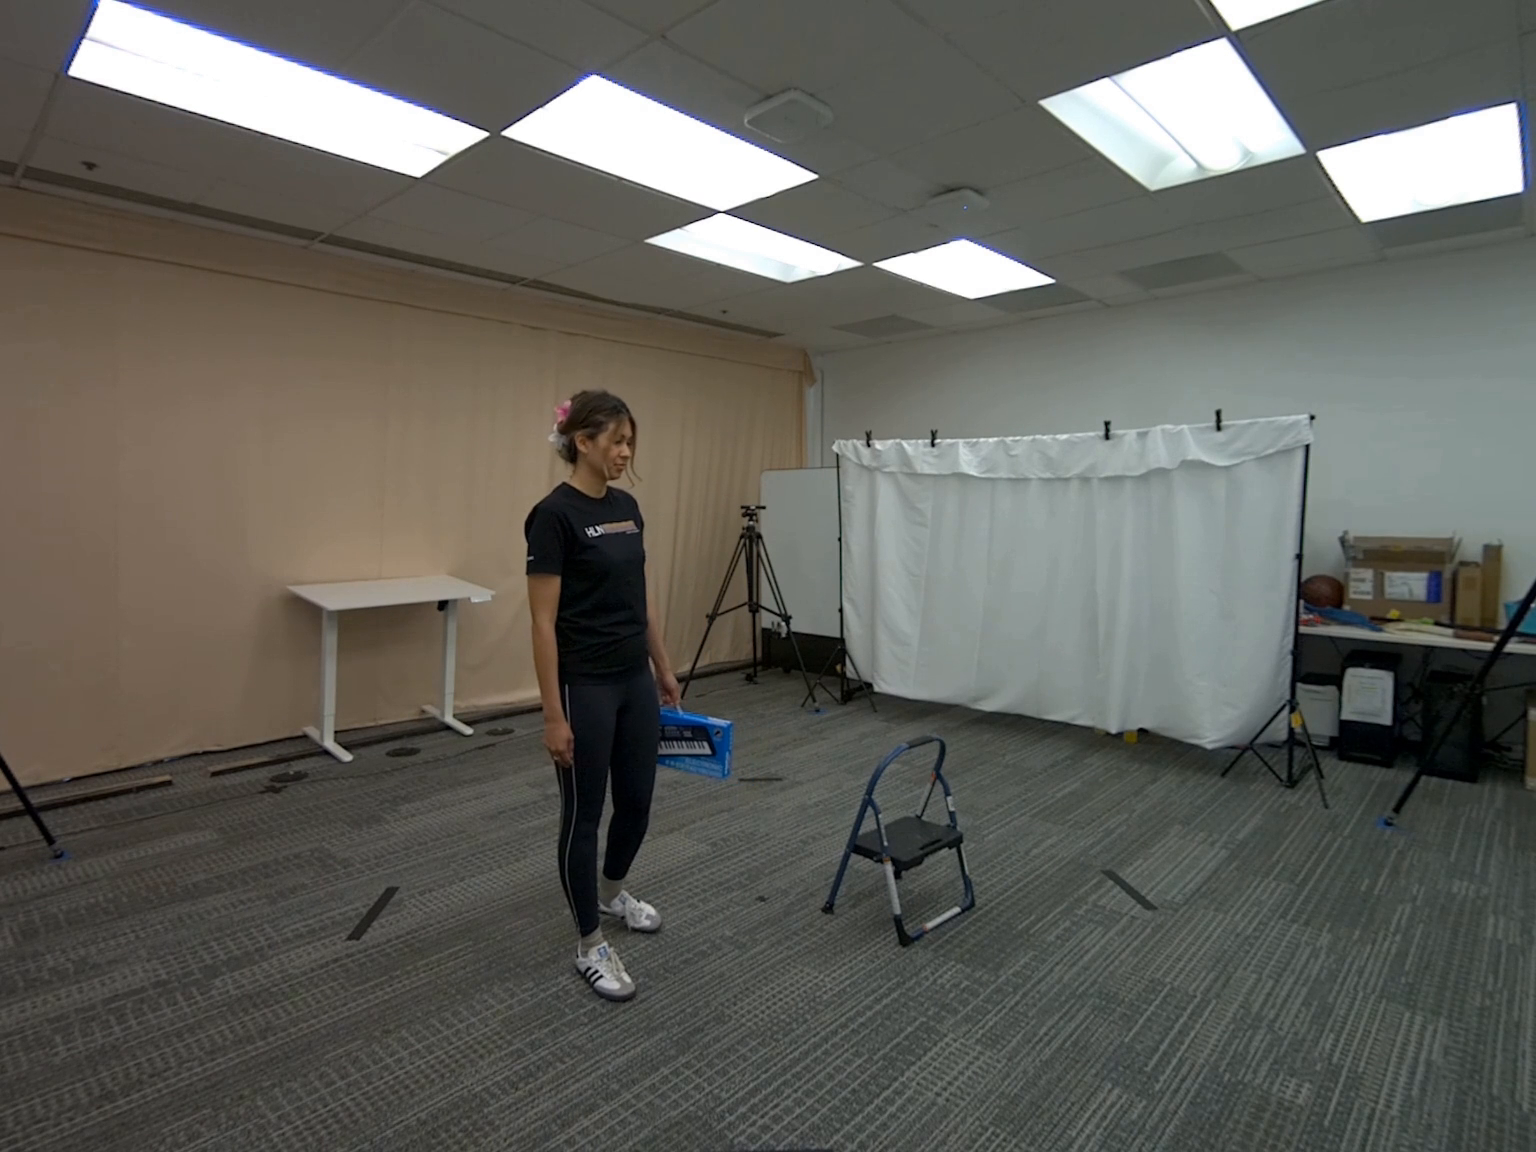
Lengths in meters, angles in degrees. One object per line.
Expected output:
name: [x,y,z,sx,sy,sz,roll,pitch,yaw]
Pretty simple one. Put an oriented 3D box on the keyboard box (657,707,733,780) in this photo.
keyboard box: [-0.324,0.525,2.724,0.447,0.175,0.058,7,5,22]
